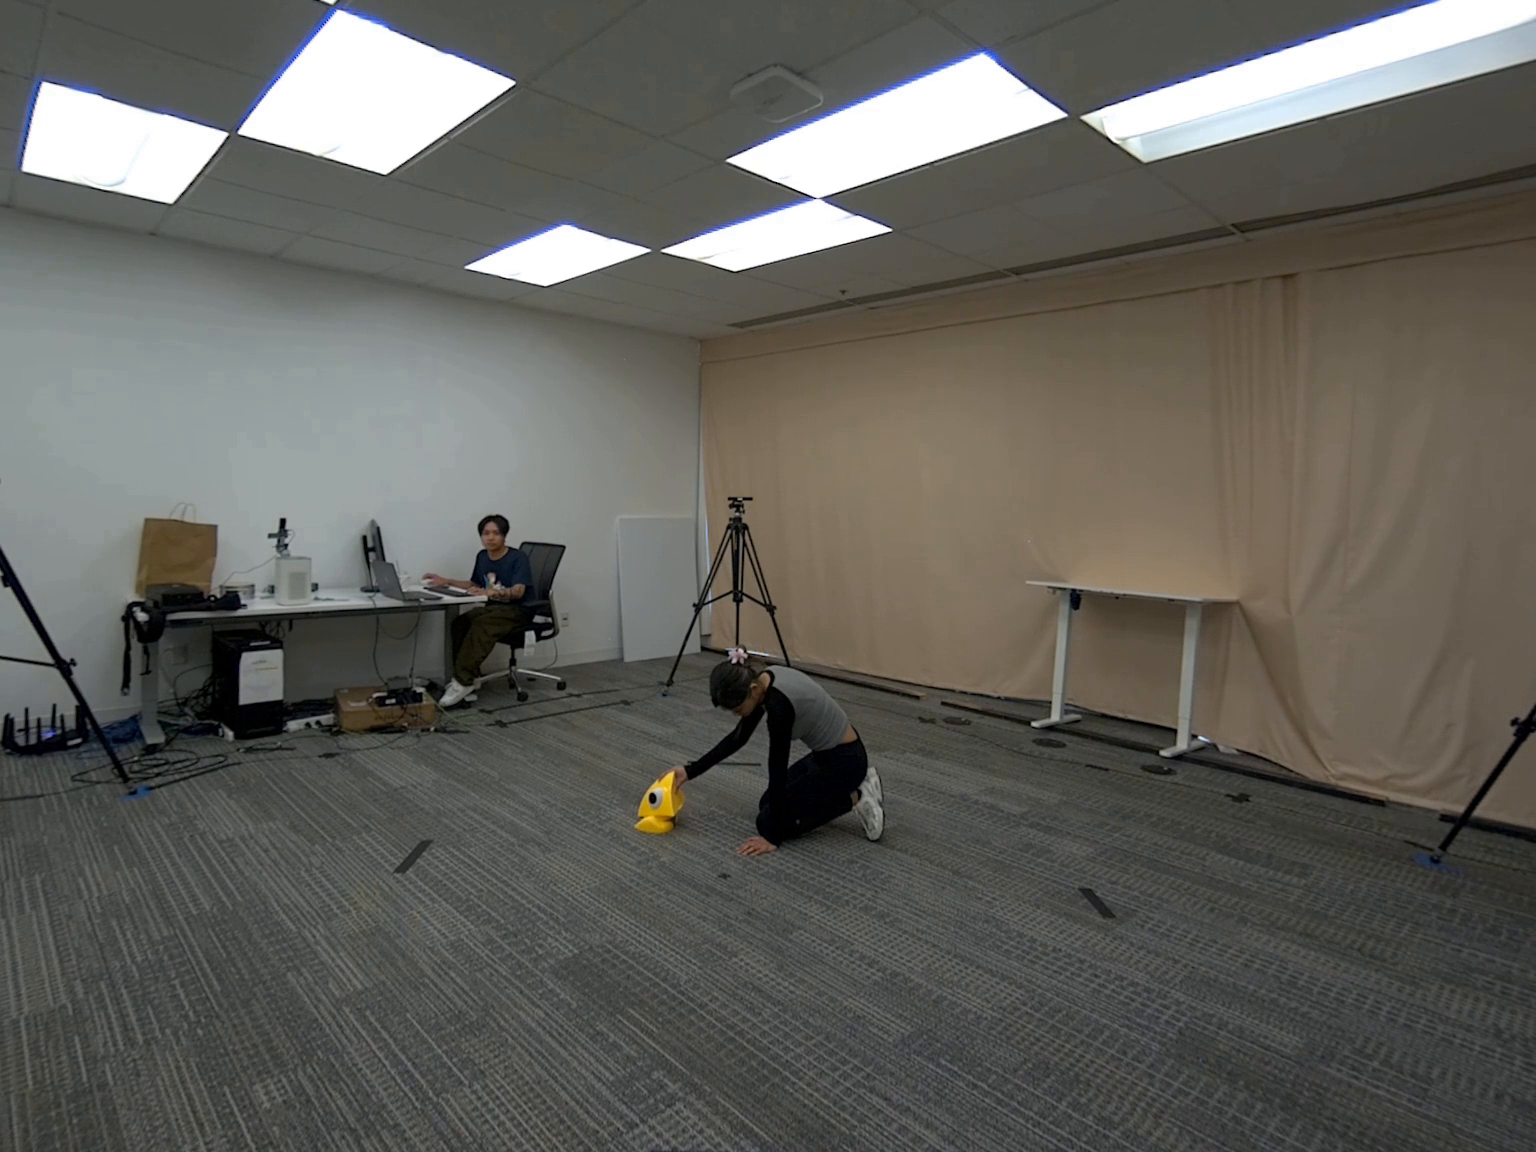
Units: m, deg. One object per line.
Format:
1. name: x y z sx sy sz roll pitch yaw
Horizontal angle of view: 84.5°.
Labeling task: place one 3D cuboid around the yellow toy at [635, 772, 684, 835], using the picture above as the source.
1. yellow toy: -0.462 0.939 3.584 0.195 0.230 0.204 3 5 10
